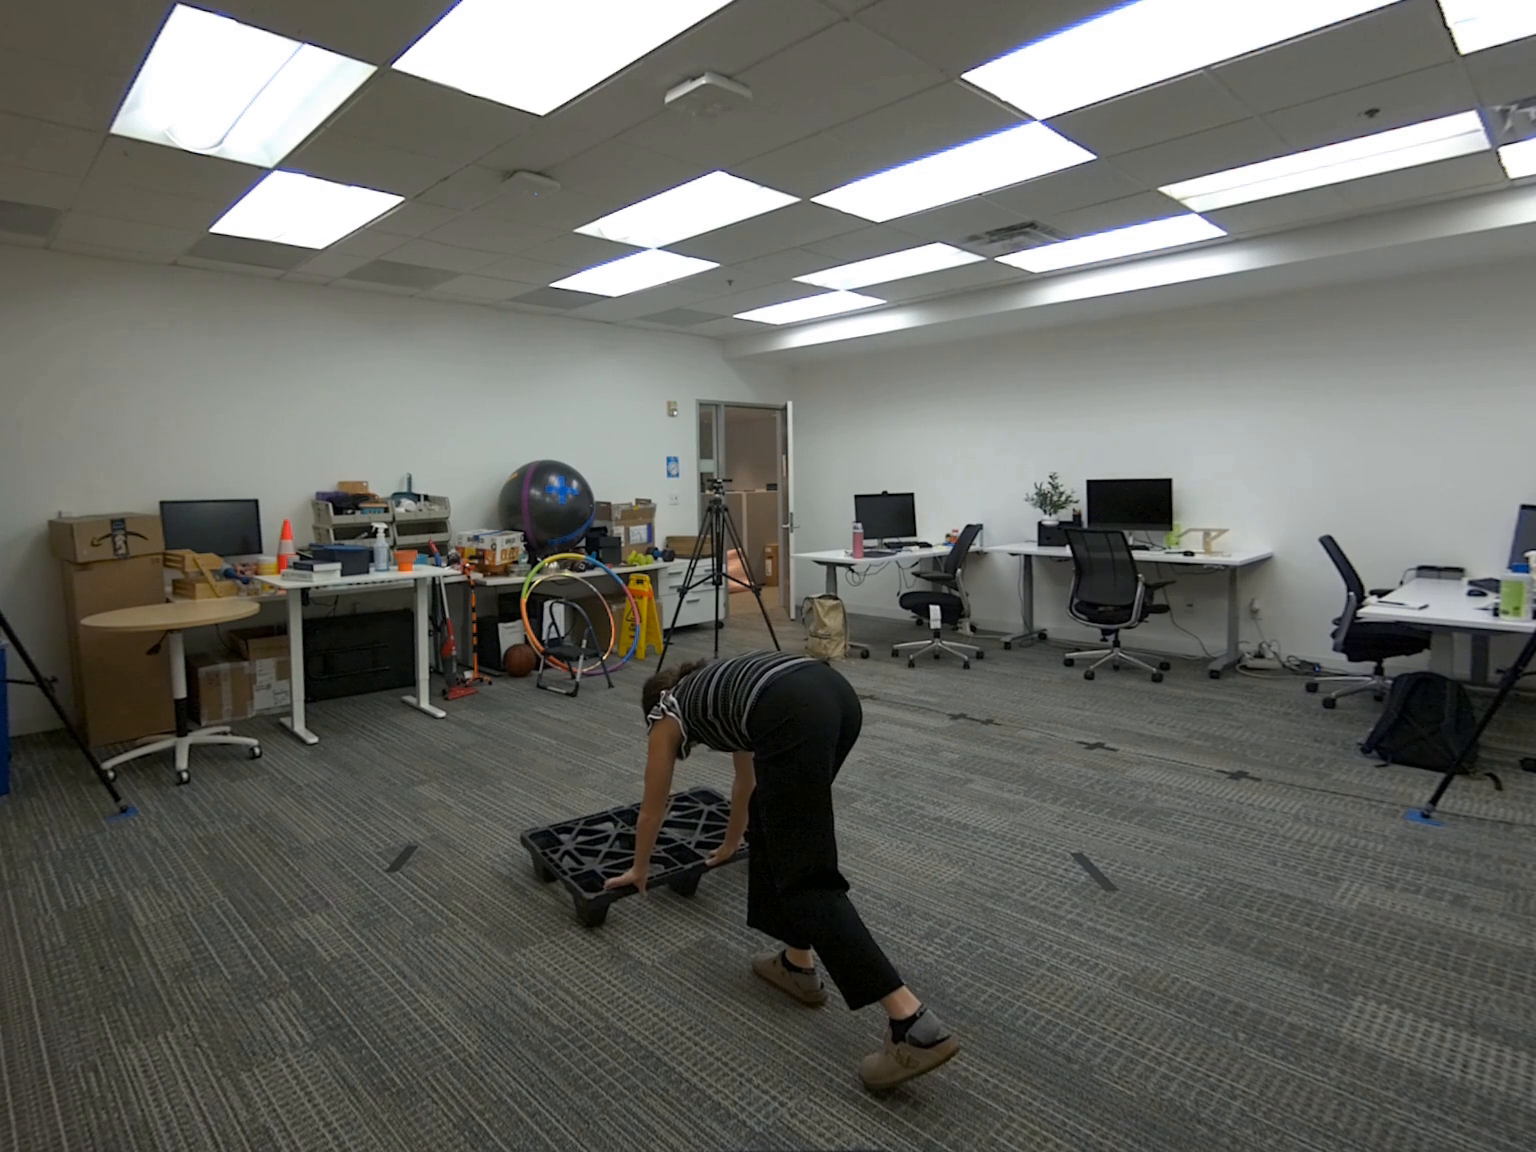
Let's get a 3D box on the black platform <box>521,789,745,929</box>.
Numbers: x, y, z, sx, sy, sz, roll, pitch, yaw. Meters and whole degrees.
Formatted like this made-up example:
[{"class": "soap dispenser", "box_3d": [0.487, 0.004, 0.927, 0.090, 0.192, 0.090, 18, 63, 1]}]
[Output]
[{"class": "black platform", "box_3d": [-0.405, 0.988, 3.063, 0.786, 0.143, 0.623, -5, 7, -34]}]
